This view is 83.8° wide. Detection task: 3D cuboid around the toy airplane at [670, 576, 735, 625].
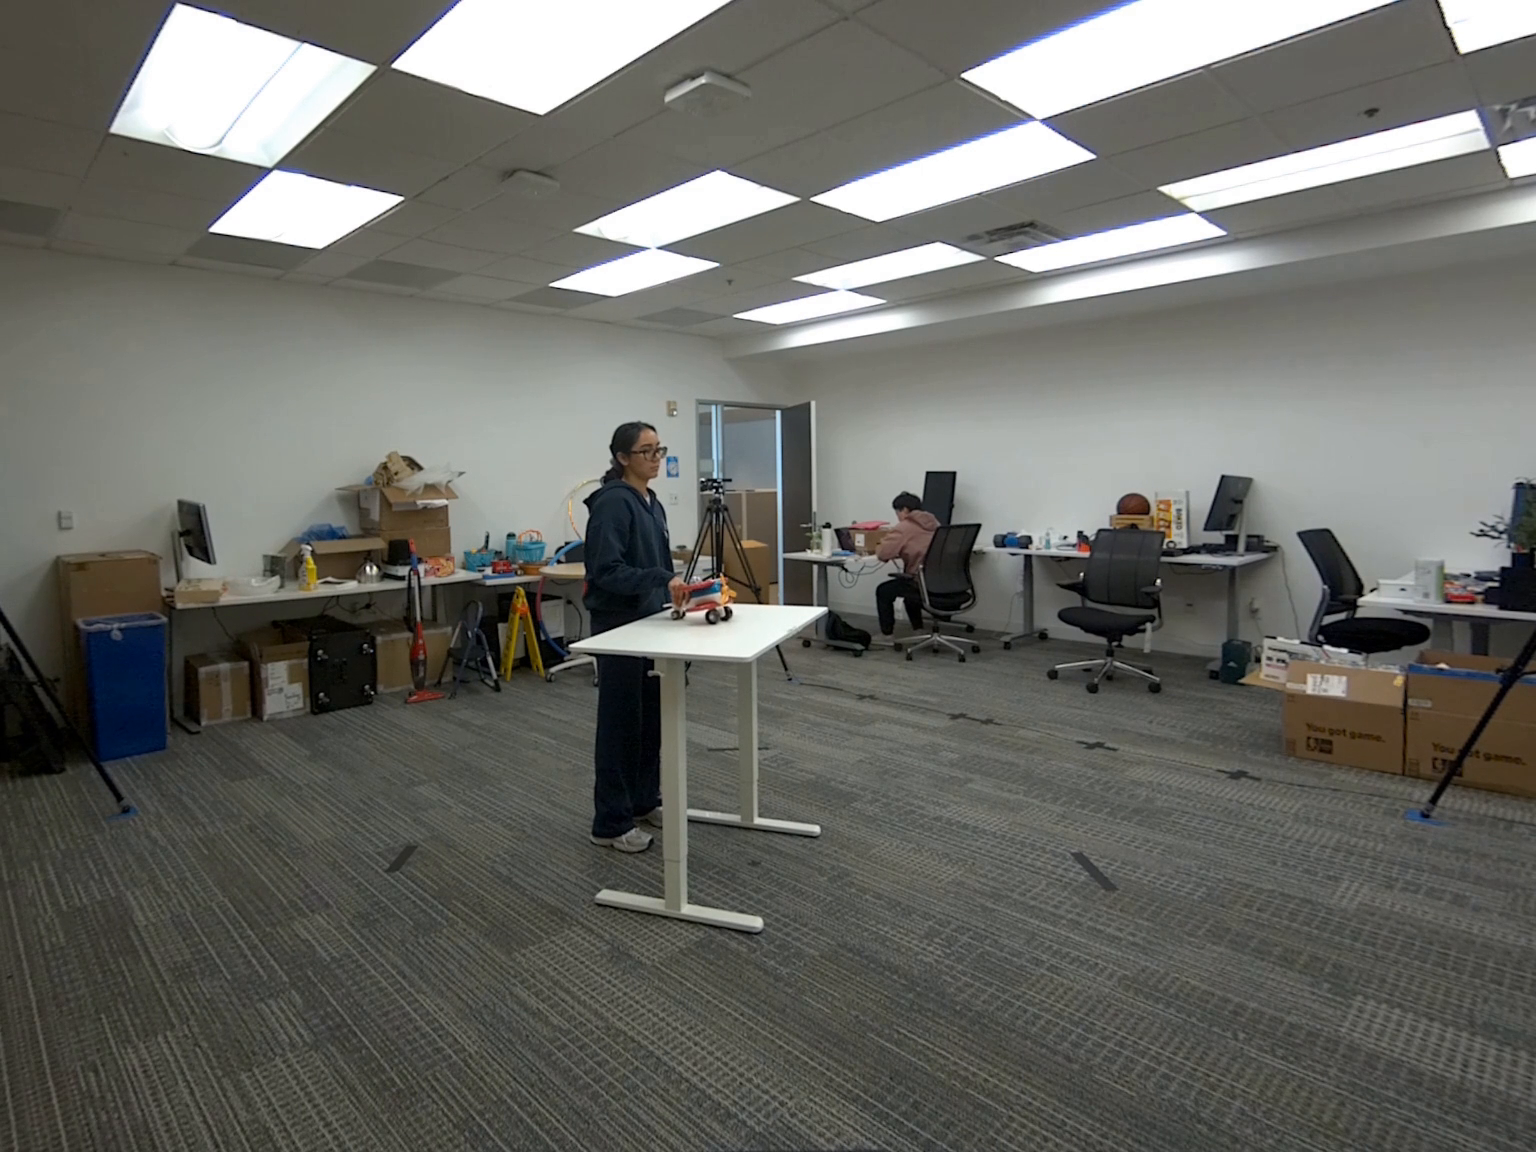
[{"bbox_3d":[-0.257,0.092,3.103,0.259,0.156,0.252,0,5,0],"label":"toy airplane"}]
